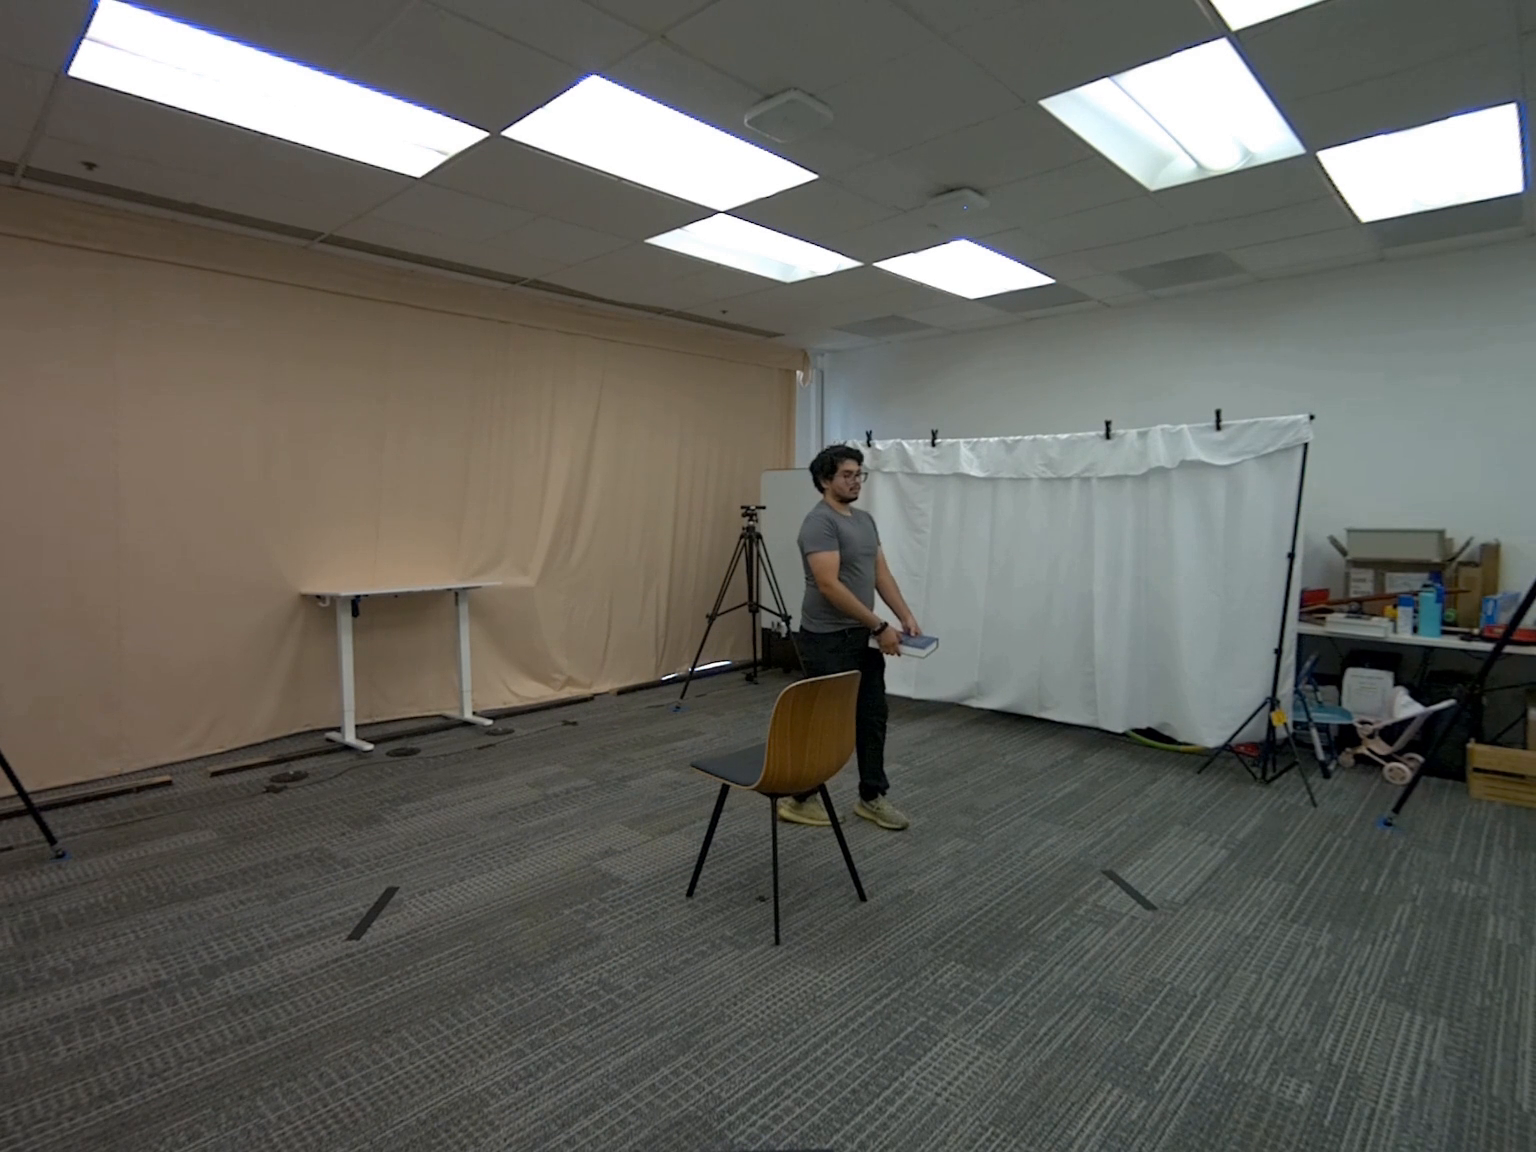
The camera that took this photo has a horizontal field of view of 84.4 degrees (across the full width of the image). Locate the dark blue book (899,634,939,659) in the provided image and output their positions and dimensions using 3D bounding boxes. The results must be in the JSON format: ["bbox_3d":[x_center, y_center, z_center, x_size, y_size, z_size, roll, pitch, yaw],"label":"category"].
[{"bbox_3d":[0.569,0.282,3.506,0.252,0.045,0.160,7,15,30],"label":"dark blue book"}]
